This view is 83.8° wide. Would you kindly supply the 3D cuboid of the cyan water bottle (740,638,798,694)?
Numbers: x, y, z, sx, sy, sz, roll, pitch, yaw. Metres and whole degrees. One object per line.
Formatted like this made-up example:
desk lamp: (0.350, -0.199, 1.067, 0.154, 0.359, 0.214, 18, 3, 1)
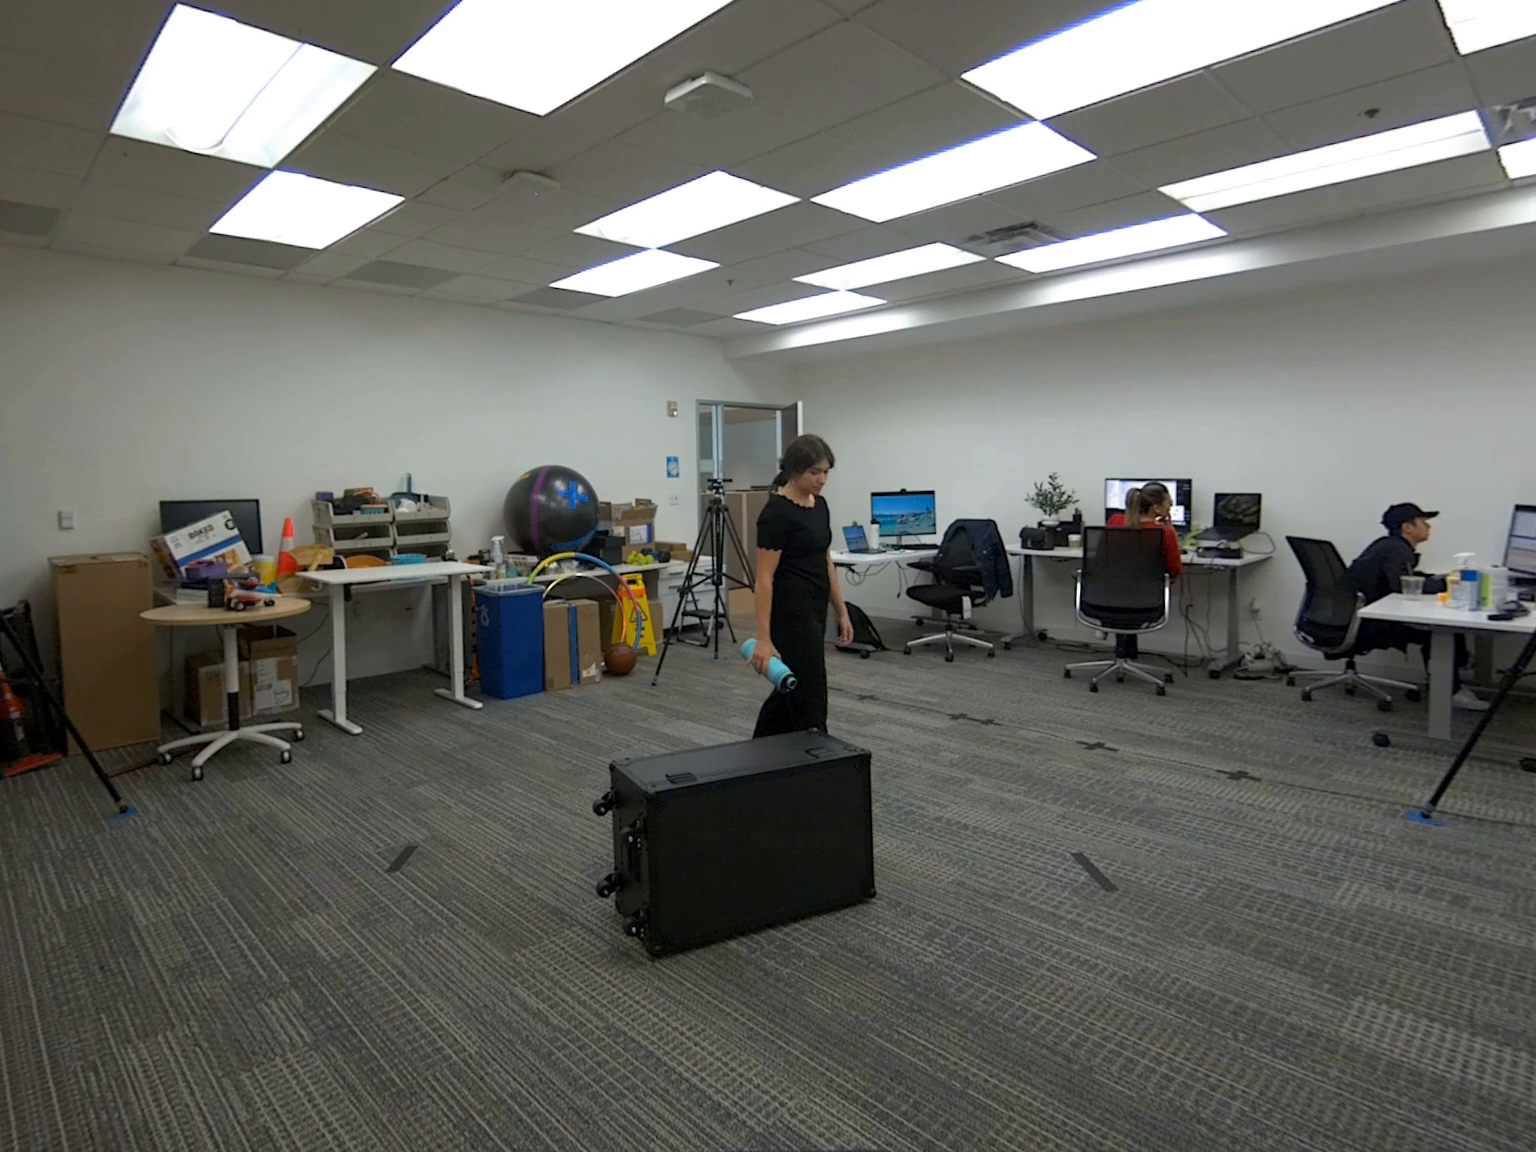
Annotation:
cyan water bottle: (0.018, 0.363, 3.397, 0.090, 0.091, 0.295, -5, 31, -41)
